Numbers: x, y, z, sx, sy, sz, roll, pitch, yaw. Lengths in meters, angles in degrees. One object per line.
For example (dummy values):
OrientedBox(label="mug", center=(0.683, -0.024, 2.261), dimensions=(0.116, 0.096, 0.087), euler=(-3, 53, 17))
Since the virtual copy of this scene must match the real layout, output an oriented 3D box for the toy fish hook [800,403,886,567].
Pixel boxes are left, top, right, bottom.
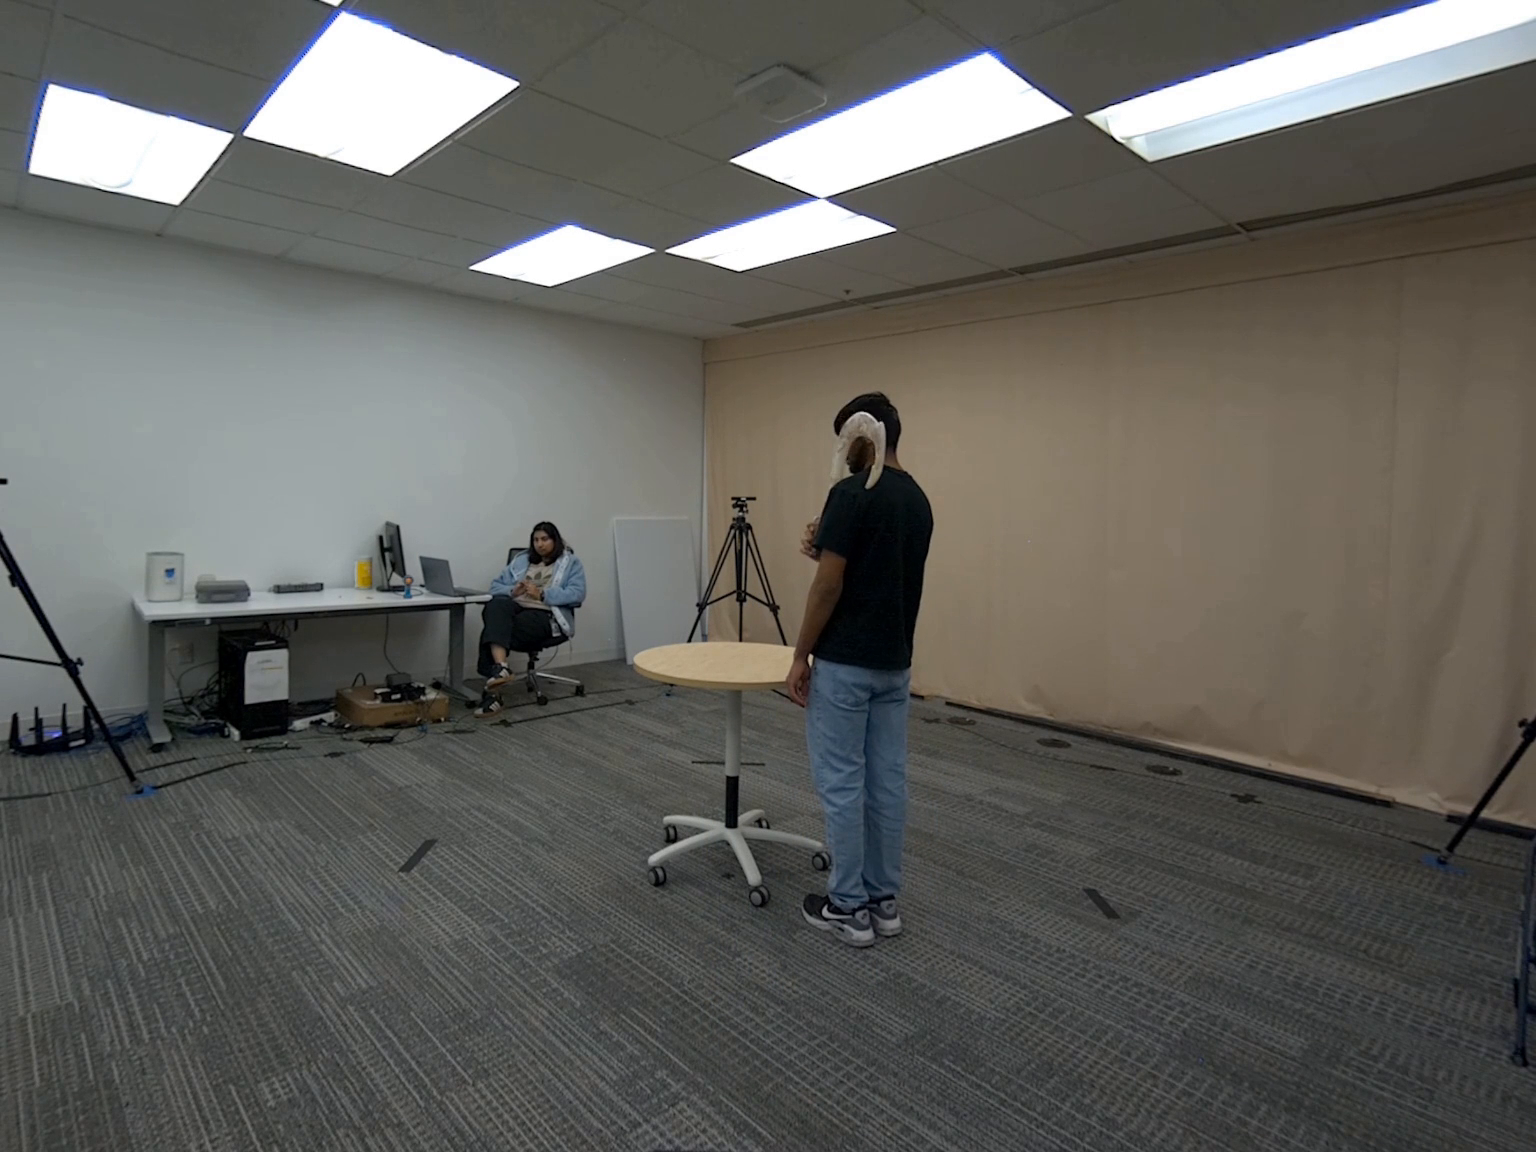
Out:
OrientedBox(label="toy fish hook", center=(0.240, -0.255, 2.610), dimensions=(0.047, 0.501, 0.231), euler=(3, 23, -30))
